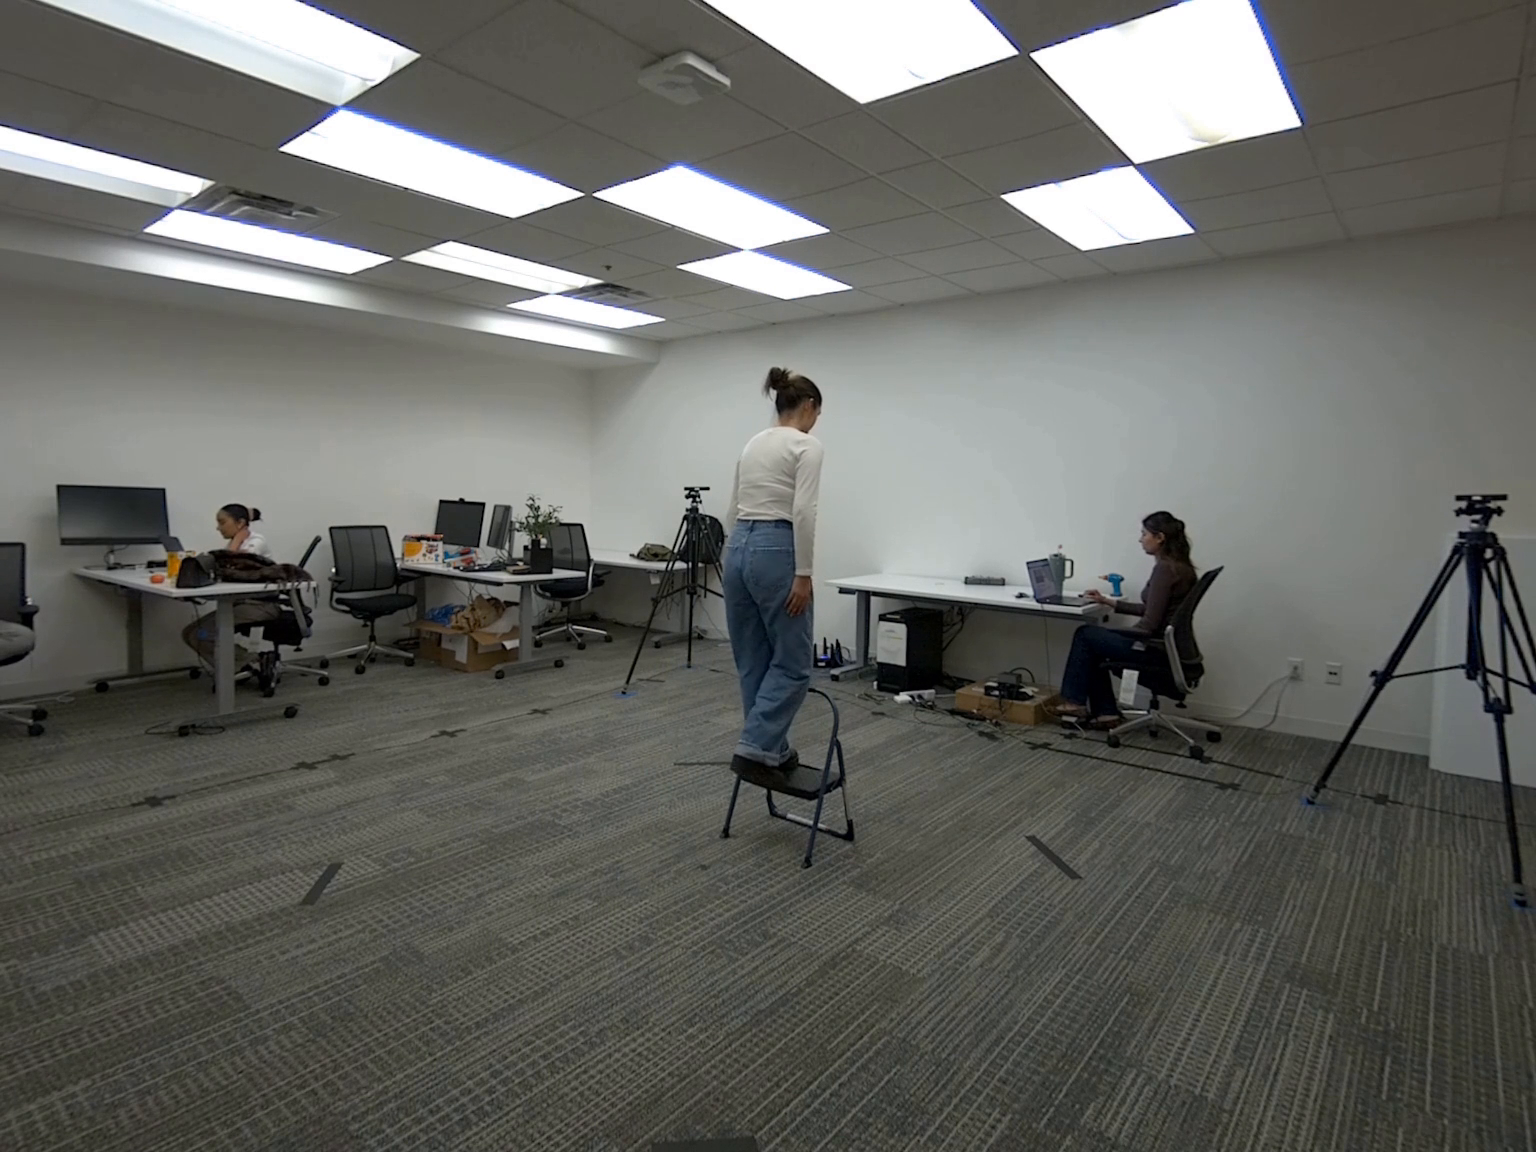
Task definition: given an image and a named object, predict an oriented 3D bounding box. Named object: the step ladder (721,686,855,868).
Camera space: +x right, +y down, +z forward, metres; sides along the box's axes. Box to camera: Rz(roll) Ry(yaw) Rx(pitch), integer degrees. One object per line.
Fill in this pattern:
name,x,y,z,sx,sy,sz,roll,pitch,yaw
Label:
step ladder,0.080,0.742,3.373,0.445,0.604,0.339,4,5,38
